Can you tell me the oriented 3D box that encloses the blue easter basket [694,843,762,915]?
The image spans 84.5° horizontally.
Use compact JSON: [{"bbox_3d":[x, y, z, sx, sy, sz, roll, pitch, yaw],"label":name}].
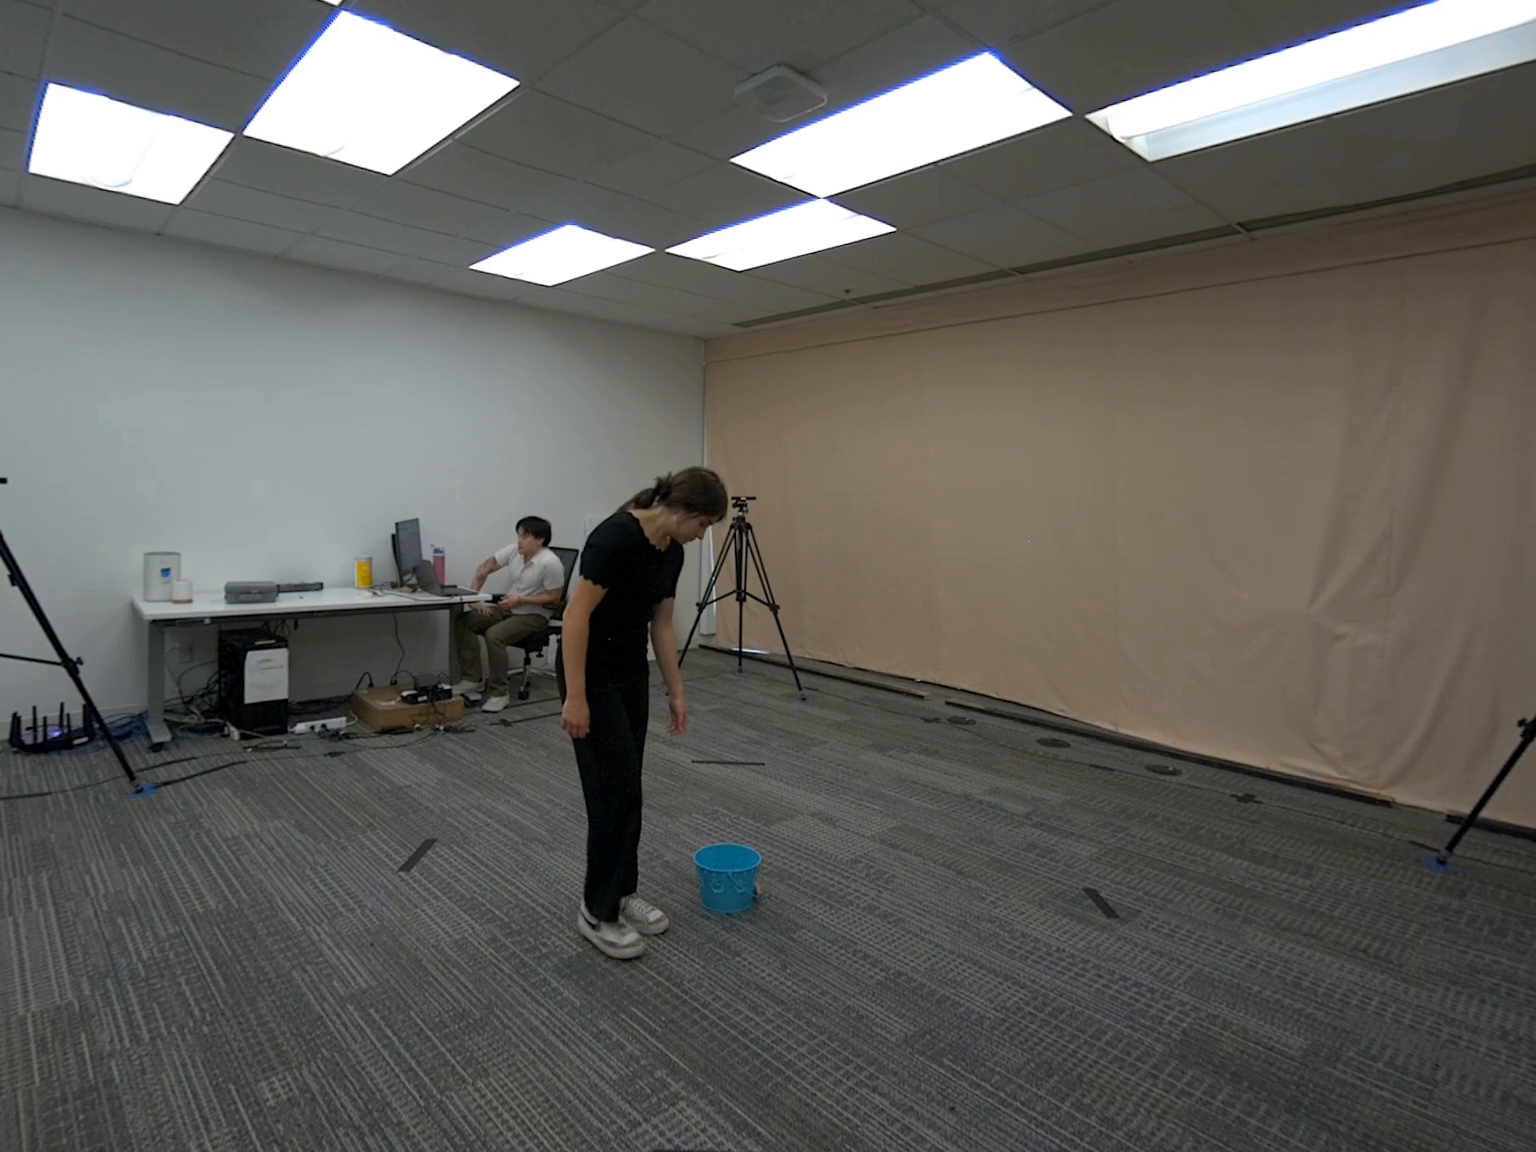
[{"bbox_3d":[-0.145,1.043,2.910,0.243,0.155,0.244,1,4,-1],"label":"blue easter basket"}]
